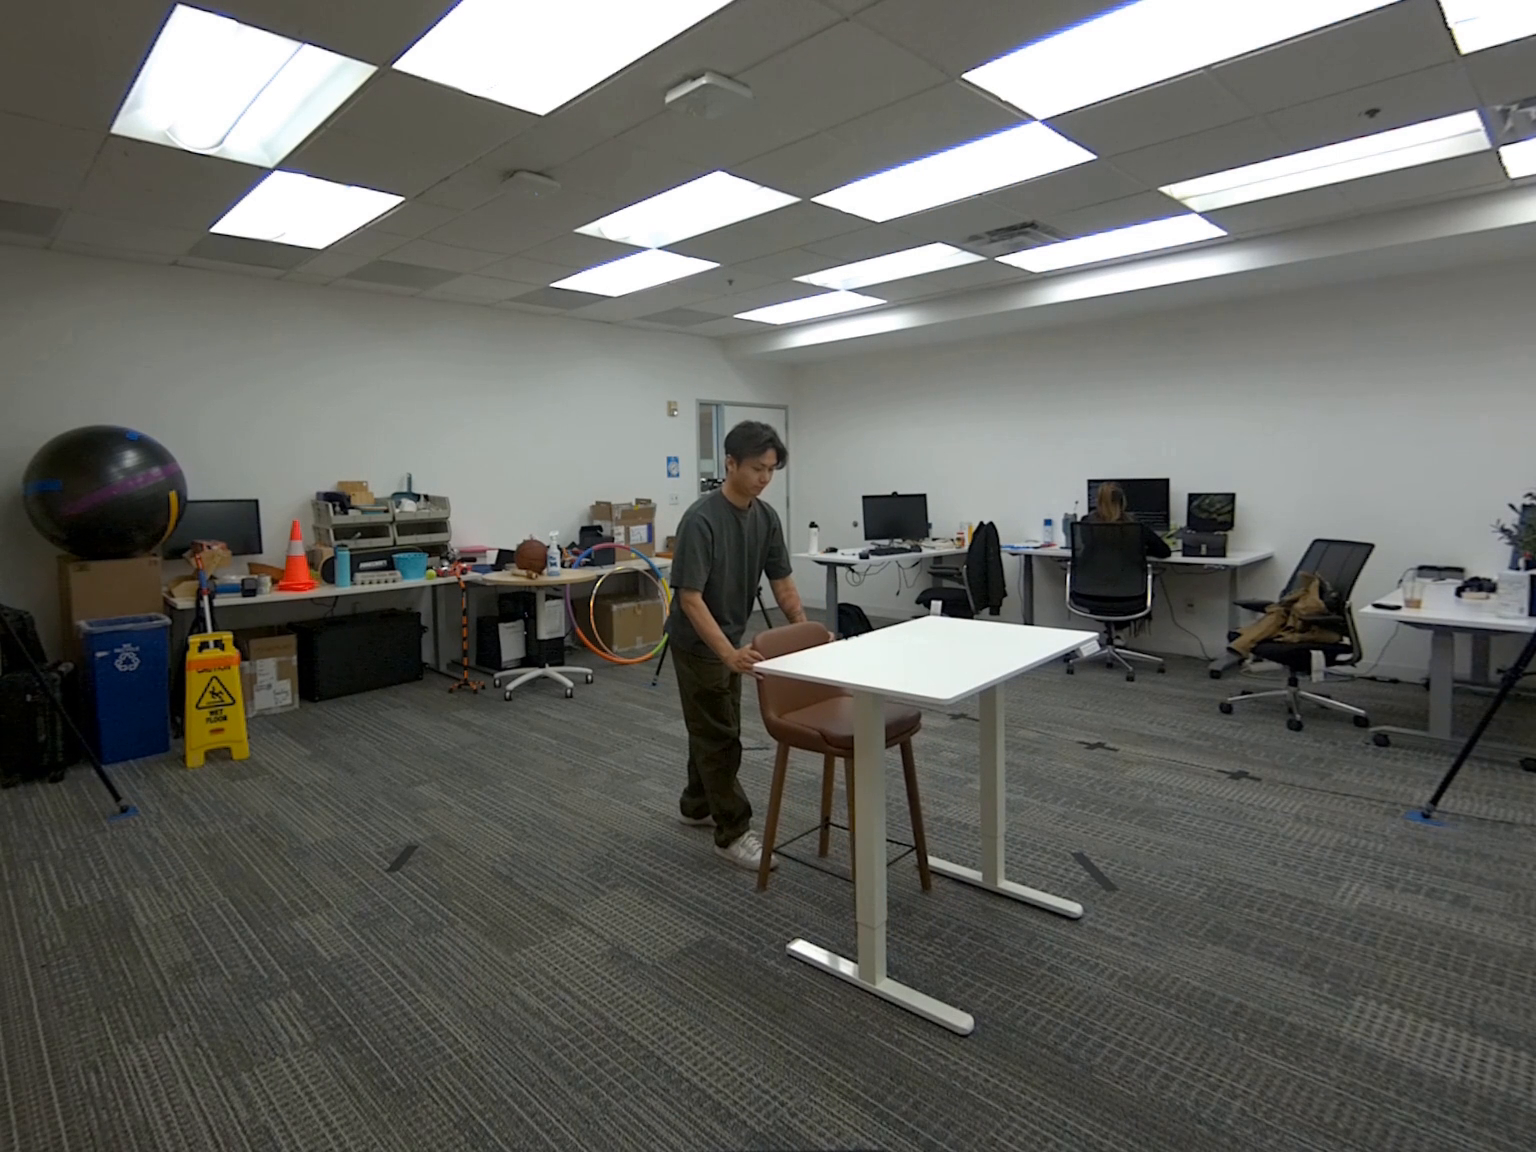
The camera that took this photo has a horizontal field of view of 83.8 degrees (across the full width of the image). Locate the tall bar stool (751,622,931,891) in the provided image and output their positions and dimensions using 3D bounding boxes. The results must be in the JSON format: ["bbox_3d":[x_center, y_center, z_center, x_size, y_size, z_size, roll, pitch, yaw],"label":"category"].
[{"bbox_3d":[0.238,0.624,2.873,0.481,0.888,0.444,-1,3,43],"label":"tall bar stool"}]
